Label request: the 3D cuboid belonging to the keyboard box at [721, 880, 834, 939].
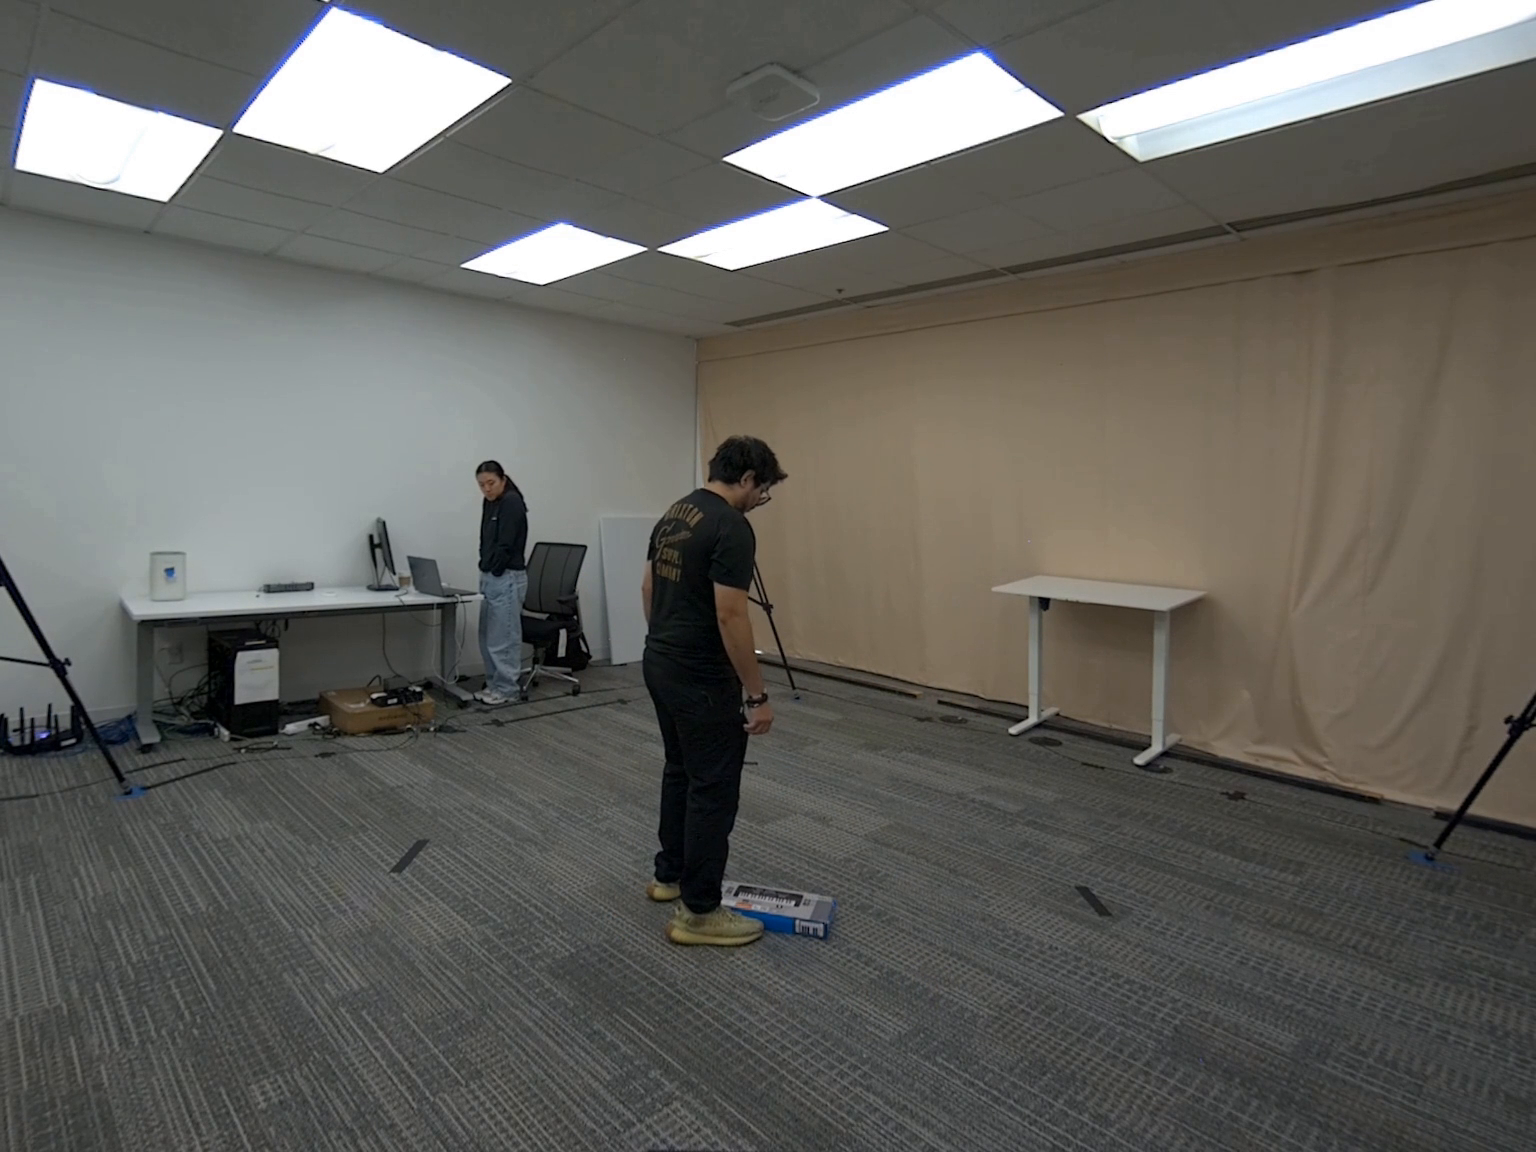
[{"bbox_3d":[-0.007,1.110,2.796,0.443,0.059,0.174,3,6,16],"label":"keyboard box"}]
